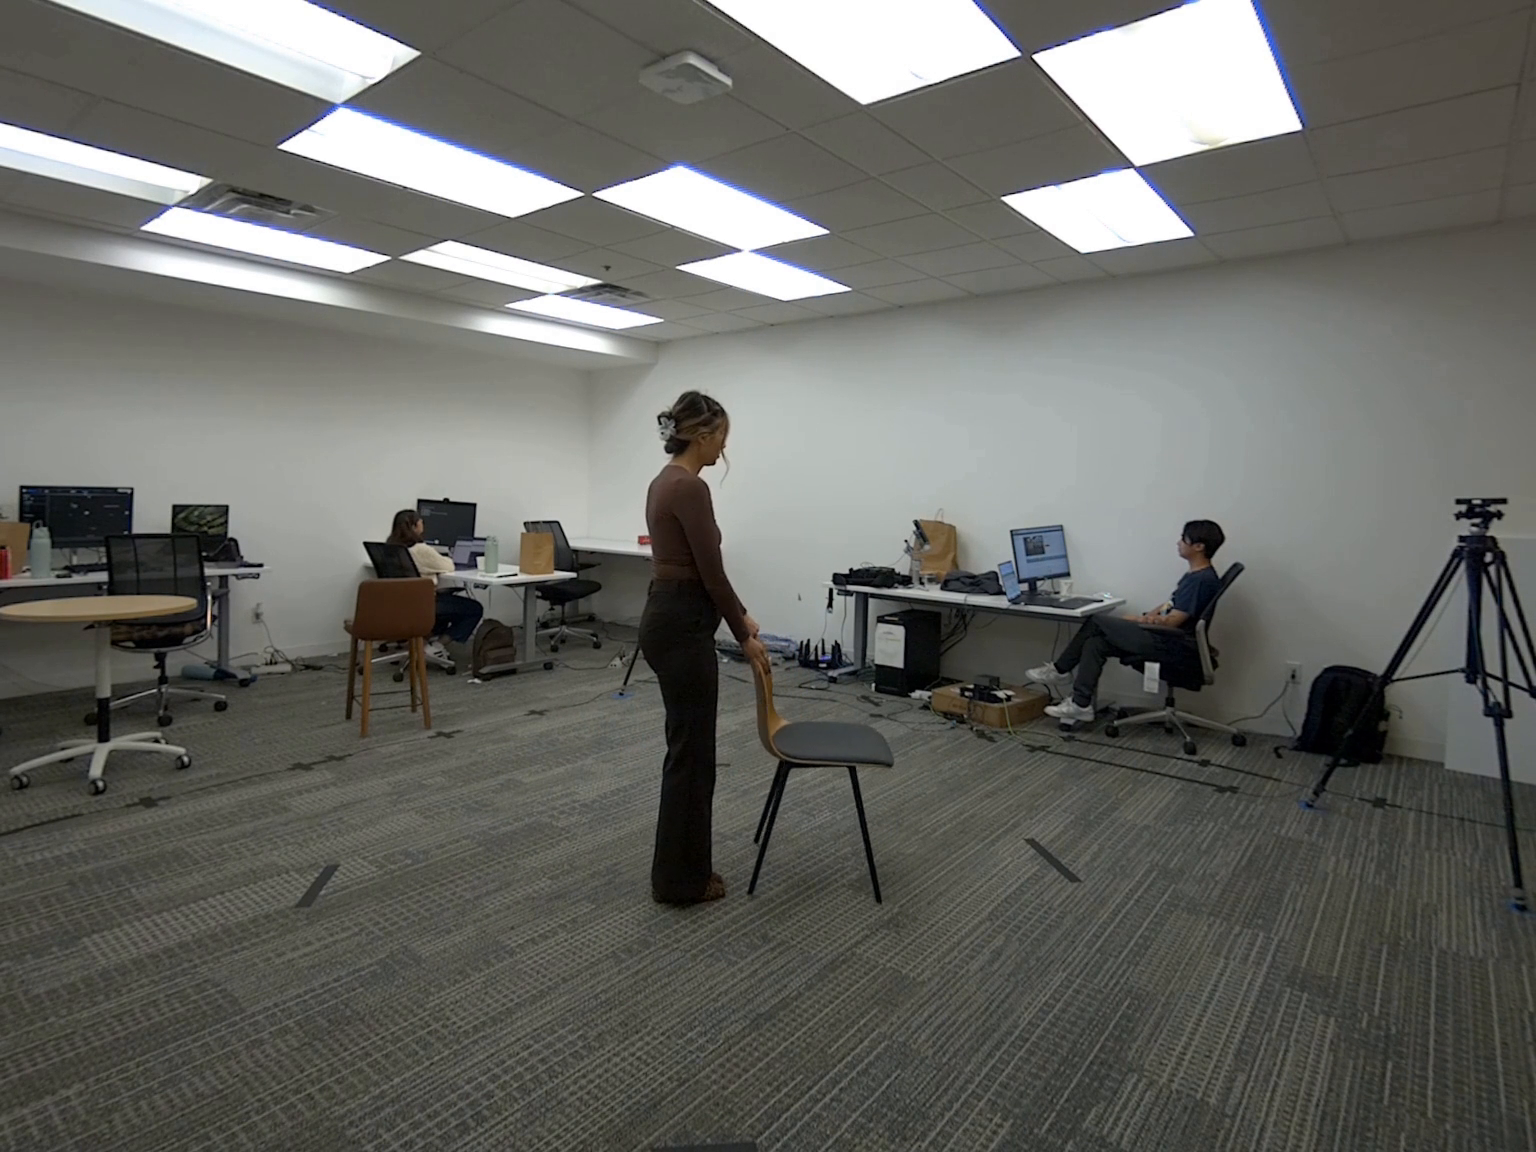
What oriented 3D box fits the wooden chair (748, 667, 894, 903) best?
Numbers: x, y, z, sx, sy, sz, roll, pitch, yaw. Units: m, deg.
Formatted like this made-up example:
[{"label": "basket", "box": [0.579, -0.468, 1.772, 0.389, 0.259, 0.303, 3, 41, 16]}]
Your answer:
[{"label": "wooden chair", "box": [0.177, 0.652, 3.096, 0.525, 0.875, 0.477, -3, 2, 3]}]
